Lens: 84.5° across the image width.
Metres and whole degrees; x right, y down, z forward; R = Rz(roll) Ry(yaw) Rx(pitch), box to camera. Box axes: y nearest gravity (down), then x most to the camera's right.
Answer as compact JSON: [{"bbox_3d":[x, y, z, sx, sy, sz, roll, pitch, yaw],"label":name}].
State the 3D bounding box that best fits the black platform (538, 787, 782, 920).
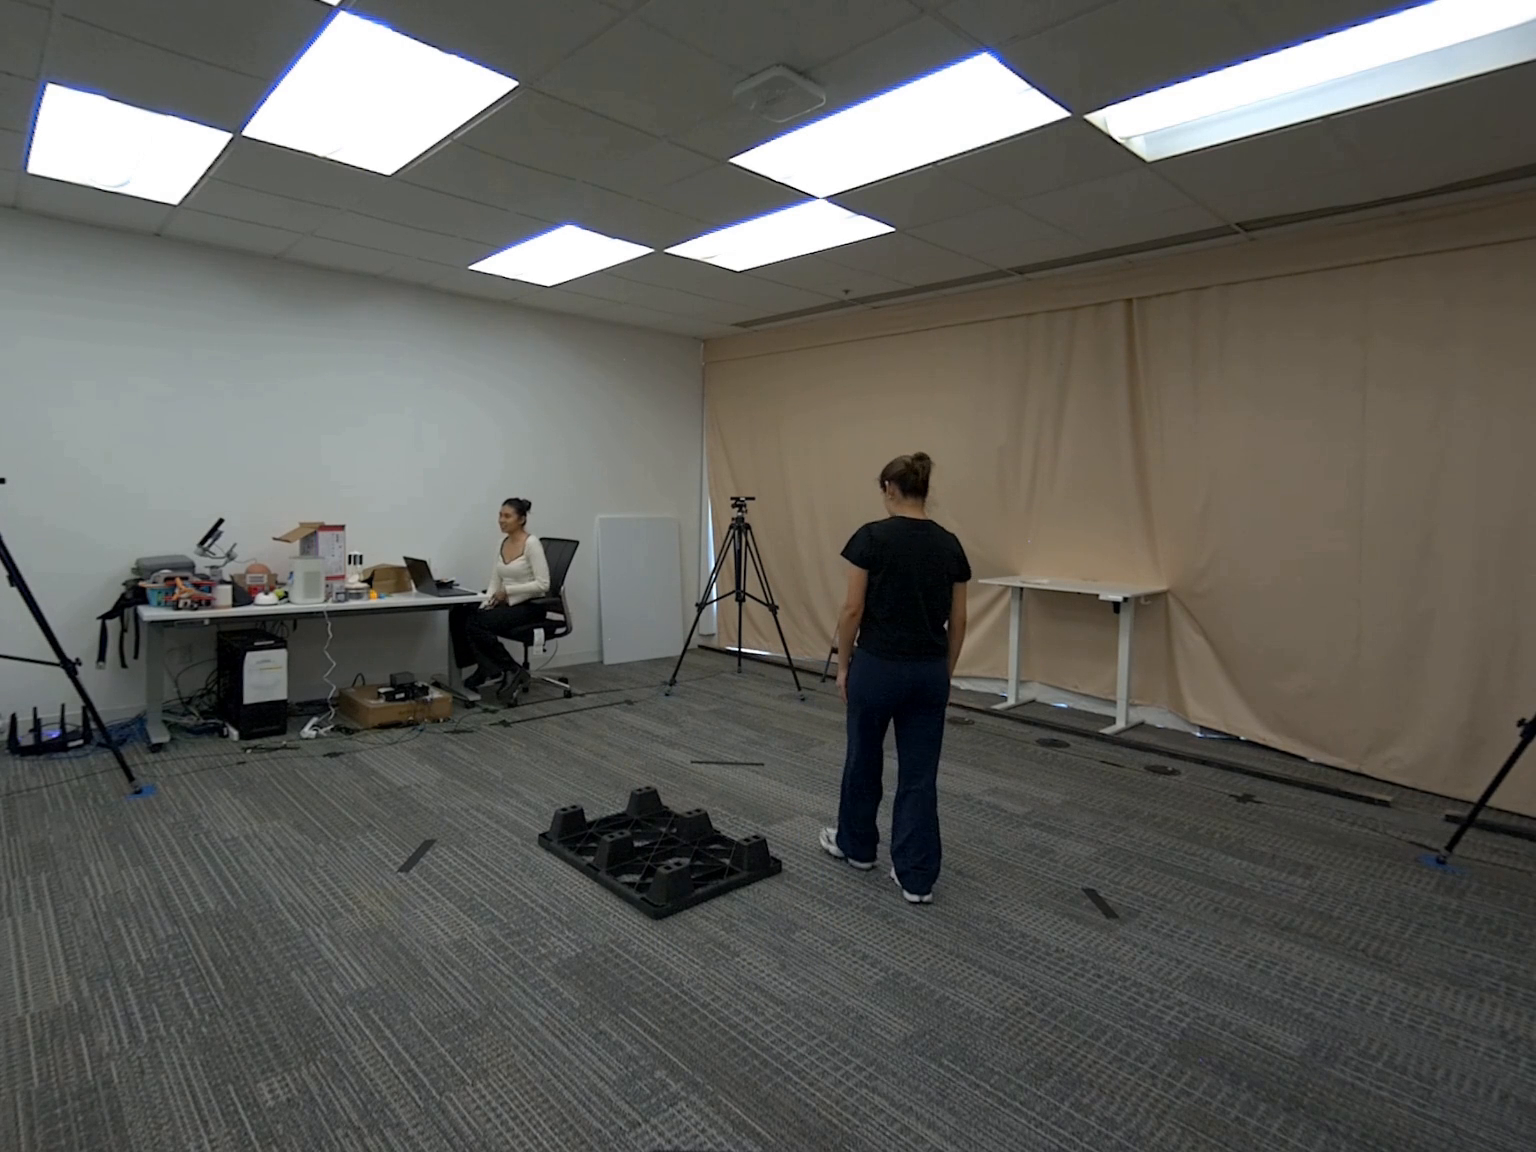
[{"bbox_3d":[-0.435,1.022,3.234,0.591,0.143,0.826,-3,6,-43],"label":"black platform"}]
